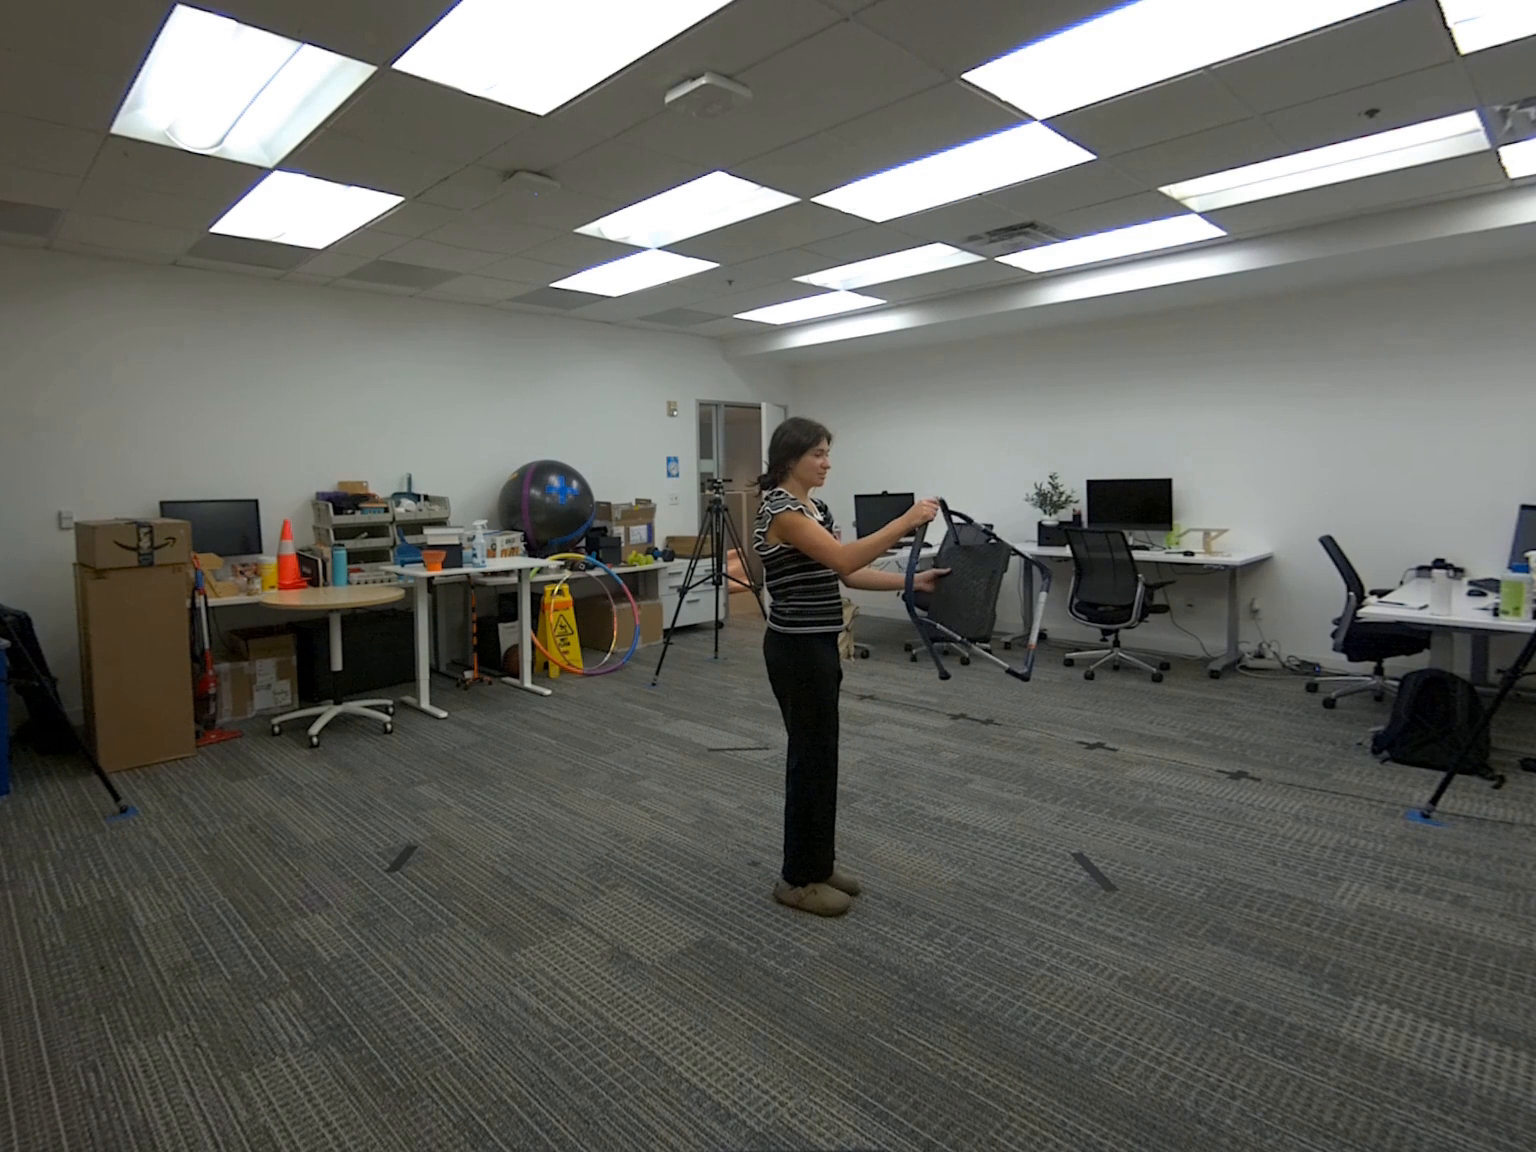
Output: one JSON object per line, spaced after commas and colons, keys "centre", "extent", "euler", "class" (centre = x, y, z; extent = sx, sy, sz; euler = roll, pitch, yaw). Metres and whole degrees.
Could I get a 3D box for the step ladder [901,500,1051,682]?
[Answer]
{"centre": [0.599, 0.027, 2.791], "extent": [0.358, 0.435, 0.584], "euler": [-5, -33, 48], "class": "step ladder"}
